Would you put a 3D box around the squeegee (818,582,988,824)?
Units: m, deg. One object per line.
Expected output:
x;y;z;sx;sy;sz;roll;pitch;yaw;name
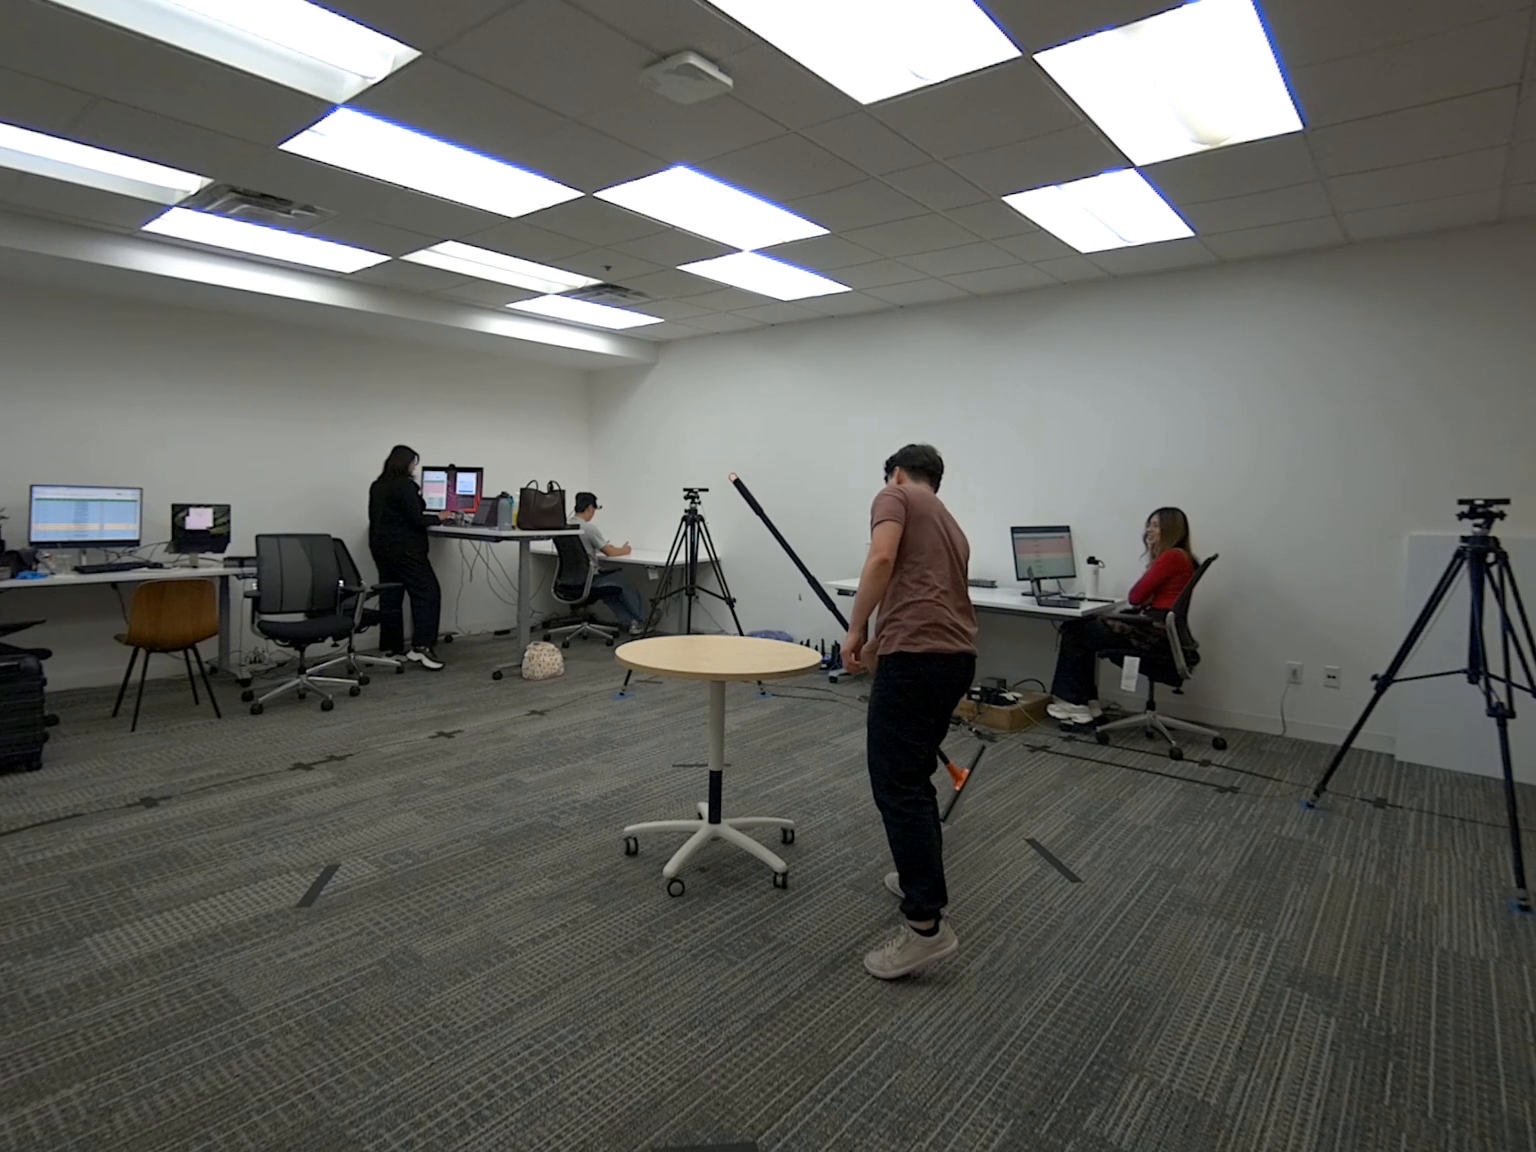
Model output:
0.313;0.238;3.291;0.435;1.533;0.053;-40;3;-43;squeegee
